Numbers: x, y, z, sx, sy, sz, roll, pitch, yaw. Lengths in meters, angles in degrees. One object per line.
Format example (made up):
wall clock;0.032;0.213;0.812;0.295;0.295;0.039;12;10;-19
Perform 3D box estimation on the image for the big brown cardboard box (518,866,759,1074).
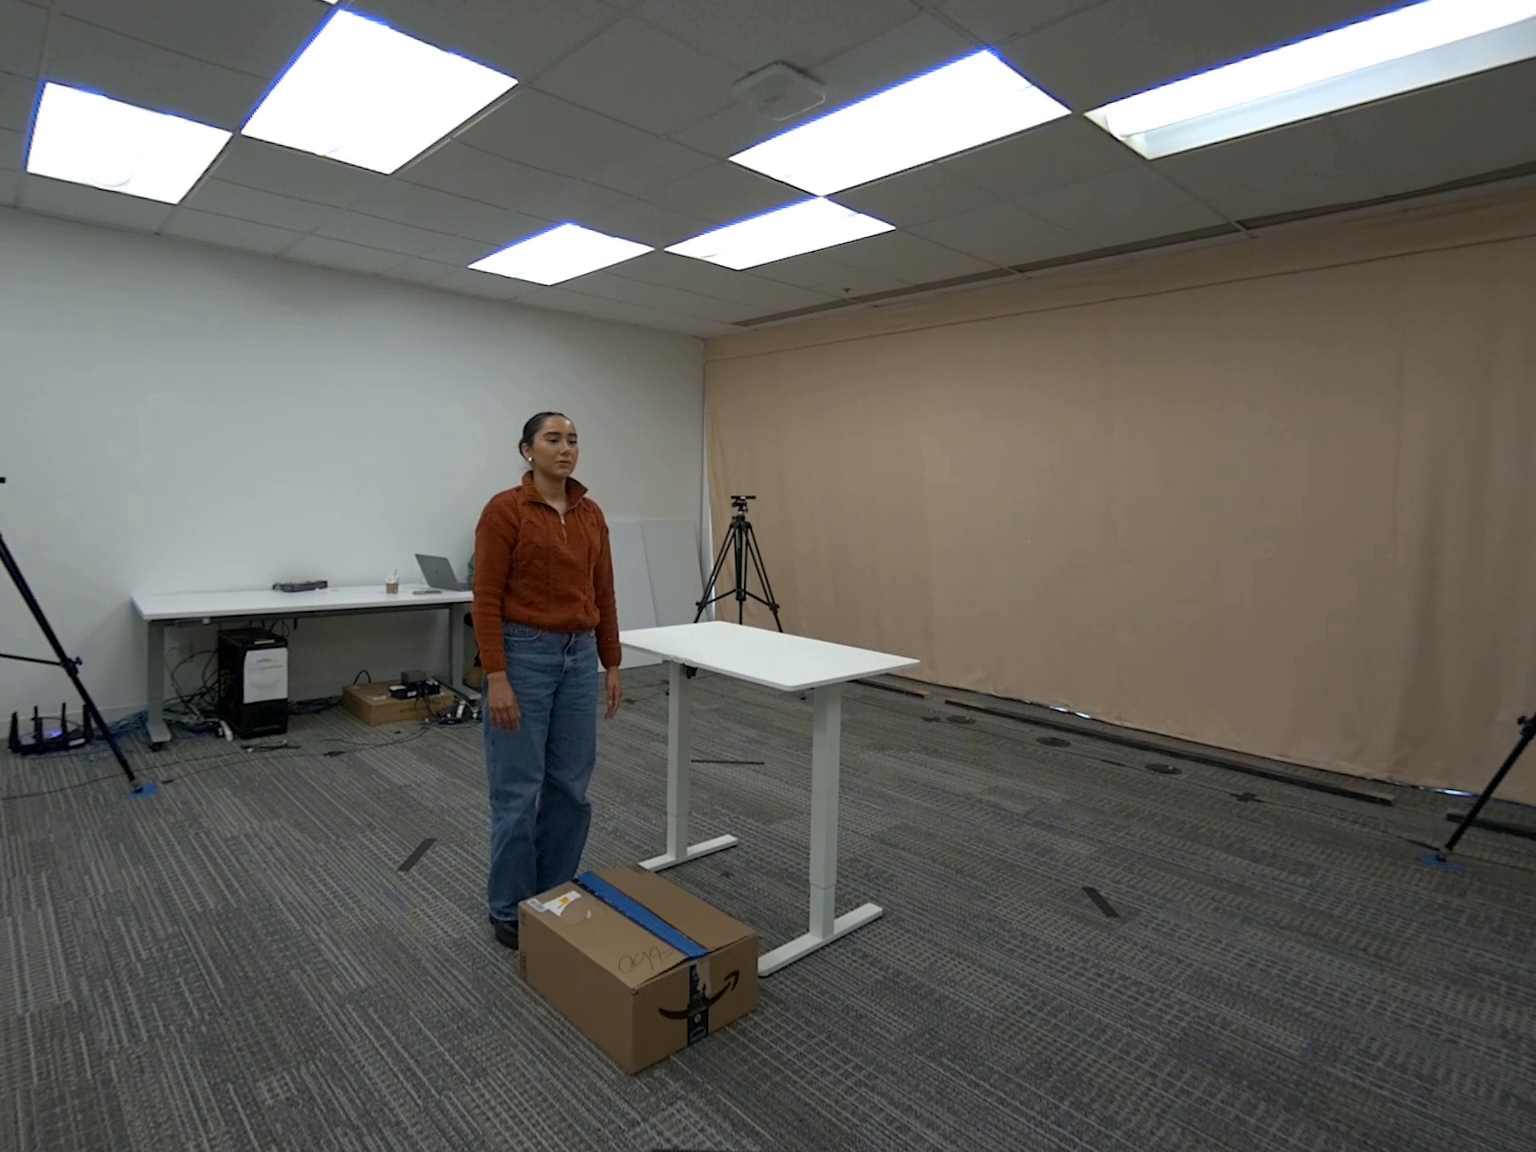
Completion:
big brown cardboard box;-0.379;1.059;2.348;0.408;0.232;0.604;-4;8;-43
